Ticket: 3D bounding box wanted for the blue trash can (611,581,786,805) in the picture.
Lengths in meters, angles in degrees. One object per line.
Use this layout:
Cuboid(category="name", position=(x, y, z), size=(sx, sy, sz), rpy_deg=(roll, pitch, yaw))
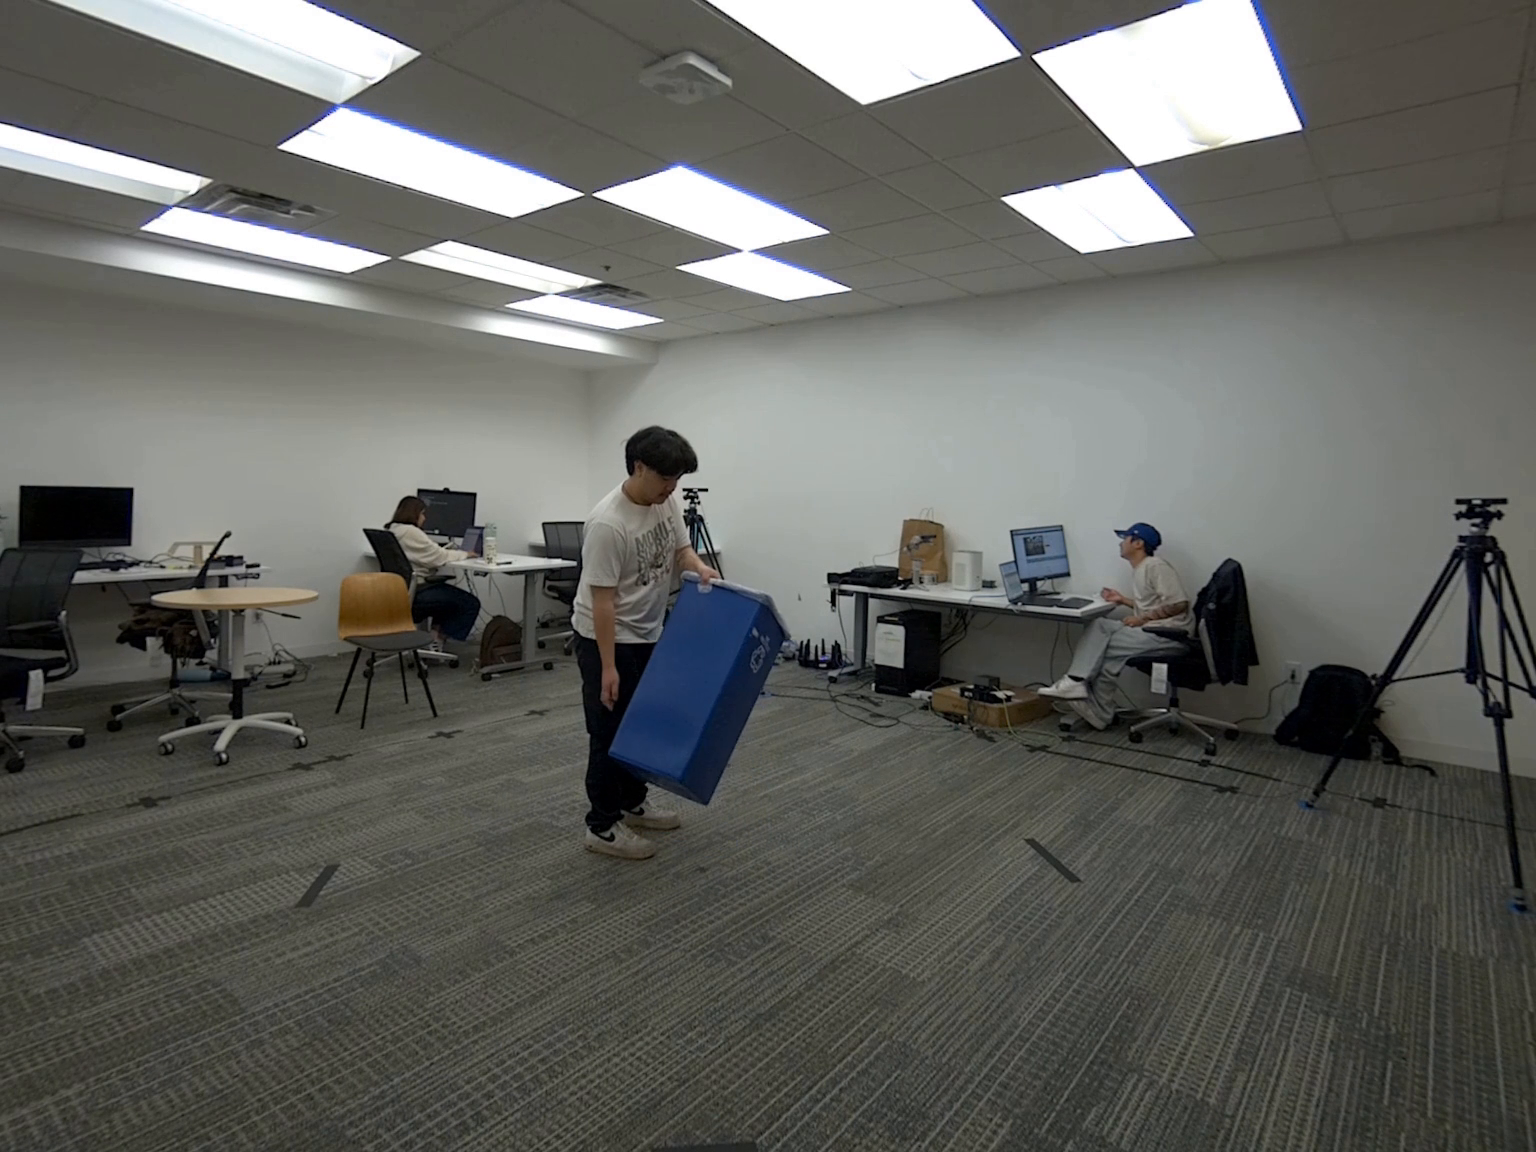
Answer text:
Cuboid(category="blue trash can", position=(-0.251, 0.410, 3.095), size=(0.389, 0.720, 0.360), rpy_deg=(13, -24, 25))
